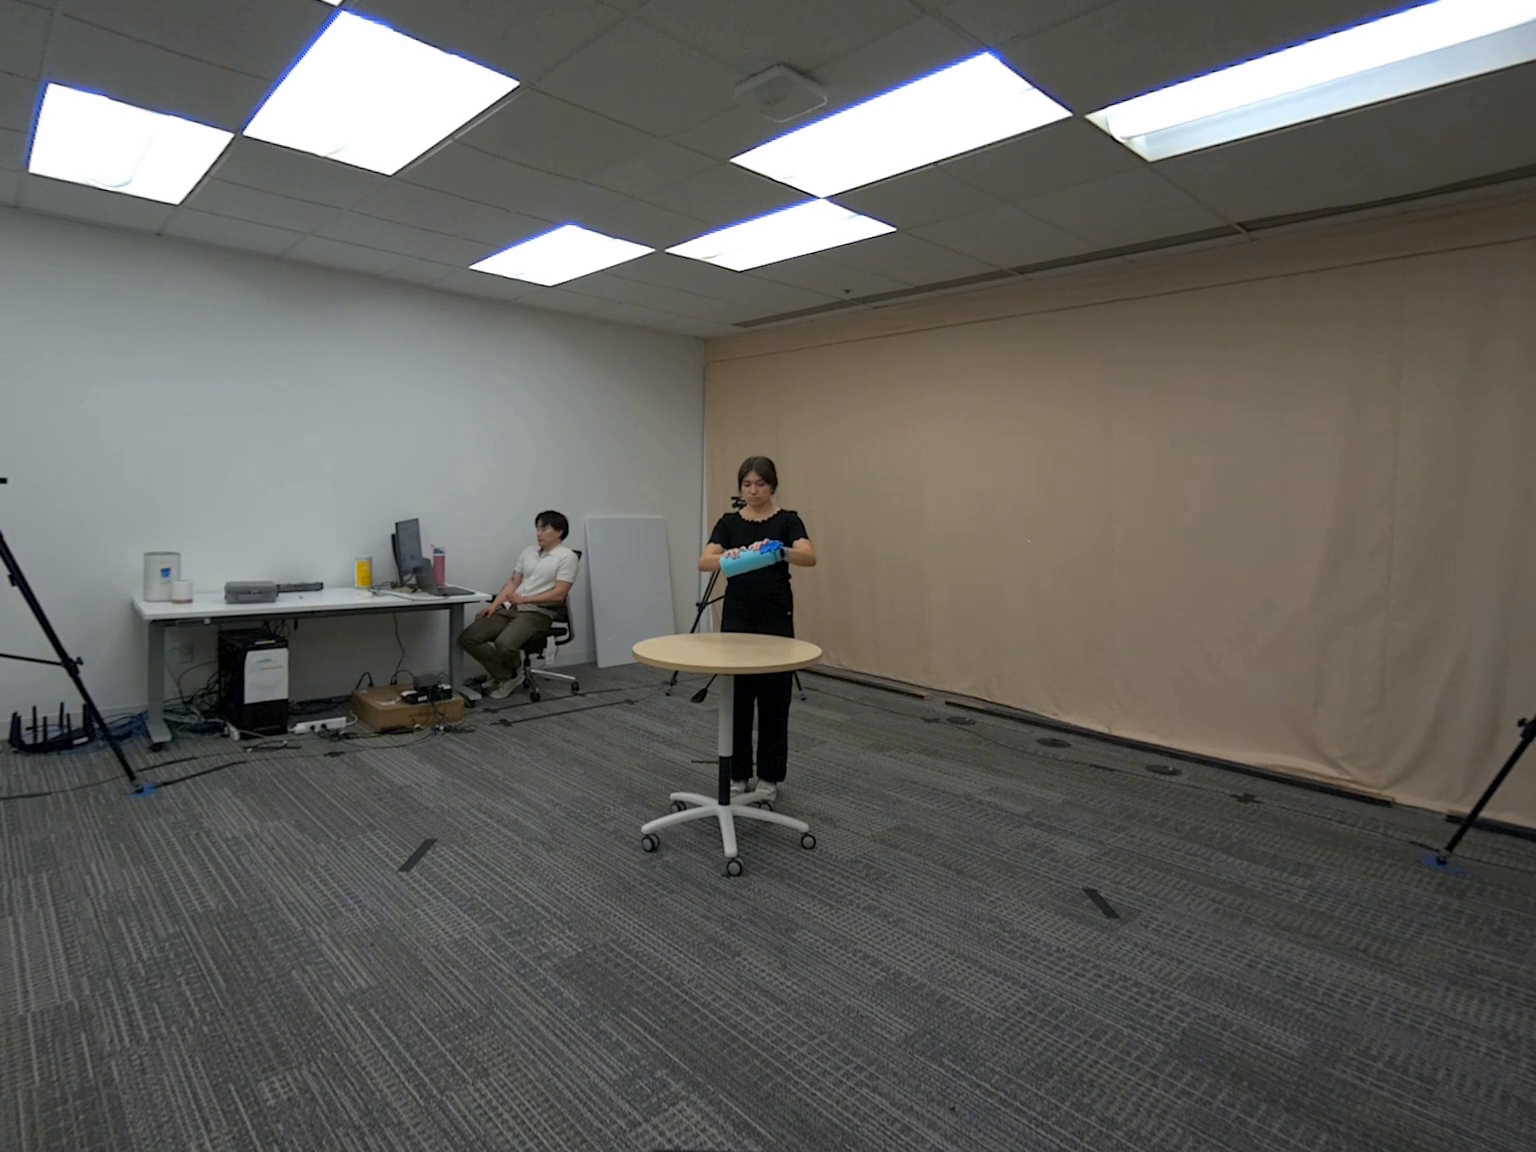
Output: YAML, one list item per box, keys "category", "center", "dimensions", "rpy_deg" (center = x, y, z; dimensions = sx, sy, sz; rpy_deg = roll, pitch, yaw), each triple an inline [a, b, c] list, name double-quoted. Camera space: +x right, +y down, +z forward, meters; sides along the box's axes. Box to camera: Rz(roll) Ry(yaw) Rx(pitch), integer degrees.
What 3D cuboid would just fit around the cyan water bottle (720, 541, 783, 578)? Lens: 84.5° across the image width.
- category: "cyan water bottle"
  center: [-0.076, -0.077, 3.518]
  dimensions: [0.285, 0.092, 0.092]
  rpy_deg: [-18, 1, 10]
